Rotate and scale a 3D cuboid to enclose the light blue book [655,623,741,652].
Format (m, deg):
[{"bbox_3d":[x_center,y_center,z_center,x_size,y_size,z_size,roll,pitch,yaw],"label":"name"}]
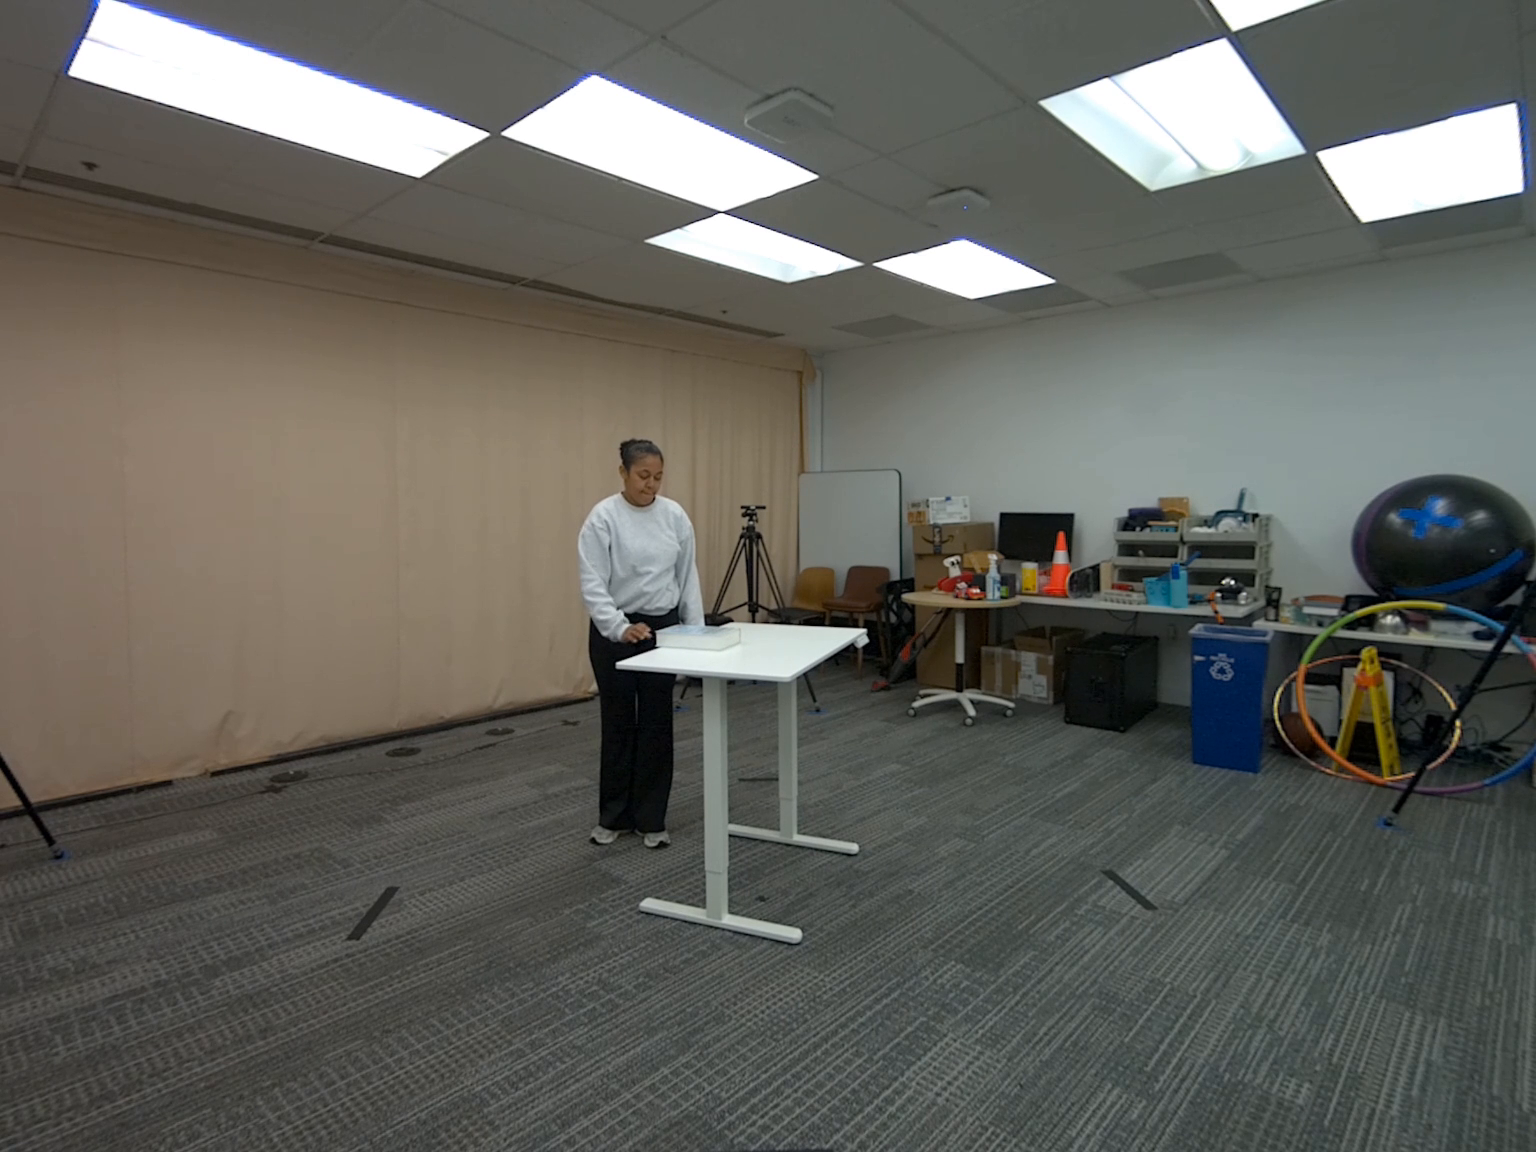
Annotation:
[{"bbox_3d":[-0.250,0.225,3.105,0.268,0.059,0.187,1,5,25],"label":"light blue book"}]
